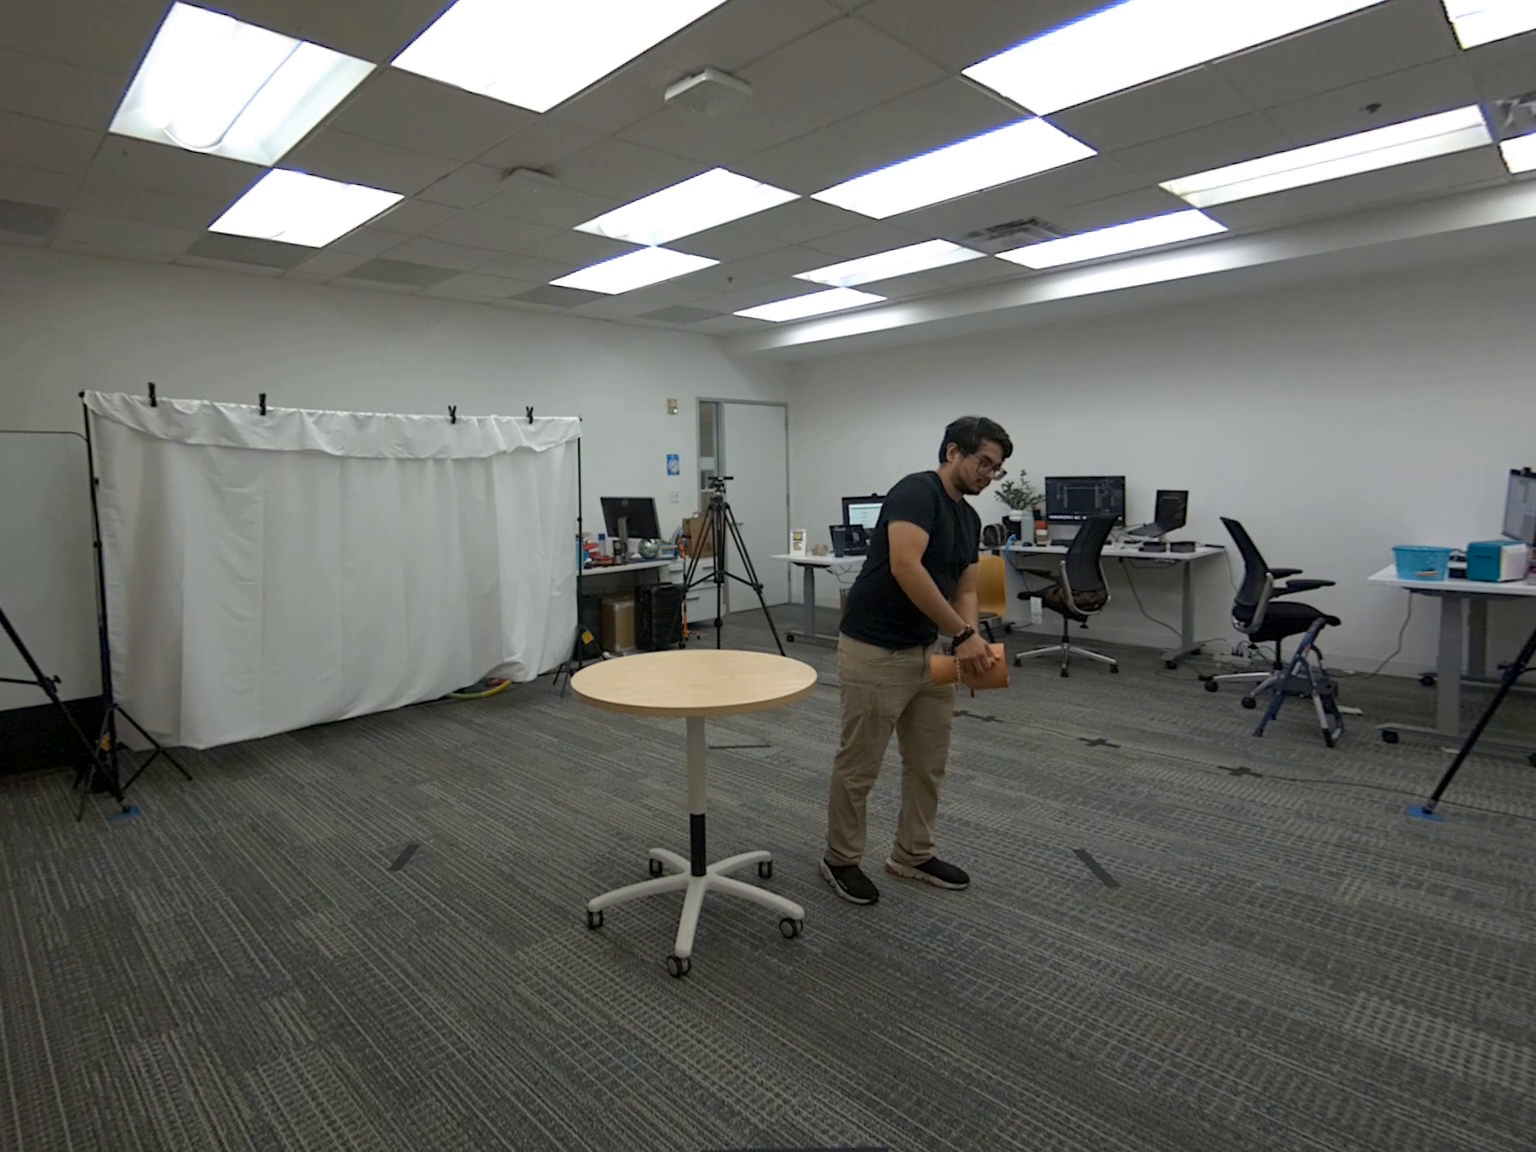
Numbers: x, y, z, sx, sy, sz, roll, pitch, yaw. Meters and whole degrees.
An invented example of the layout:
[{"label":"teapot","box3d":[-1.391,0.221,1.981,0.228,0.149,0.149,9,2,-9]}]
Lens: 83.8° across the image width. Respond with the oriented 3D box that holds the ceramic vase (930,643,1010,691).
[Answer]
[{"label":"ceramic vase","box3d":[0.629,0.281,2.617,0.222,0.154,0.137,-11,29,15]}]
